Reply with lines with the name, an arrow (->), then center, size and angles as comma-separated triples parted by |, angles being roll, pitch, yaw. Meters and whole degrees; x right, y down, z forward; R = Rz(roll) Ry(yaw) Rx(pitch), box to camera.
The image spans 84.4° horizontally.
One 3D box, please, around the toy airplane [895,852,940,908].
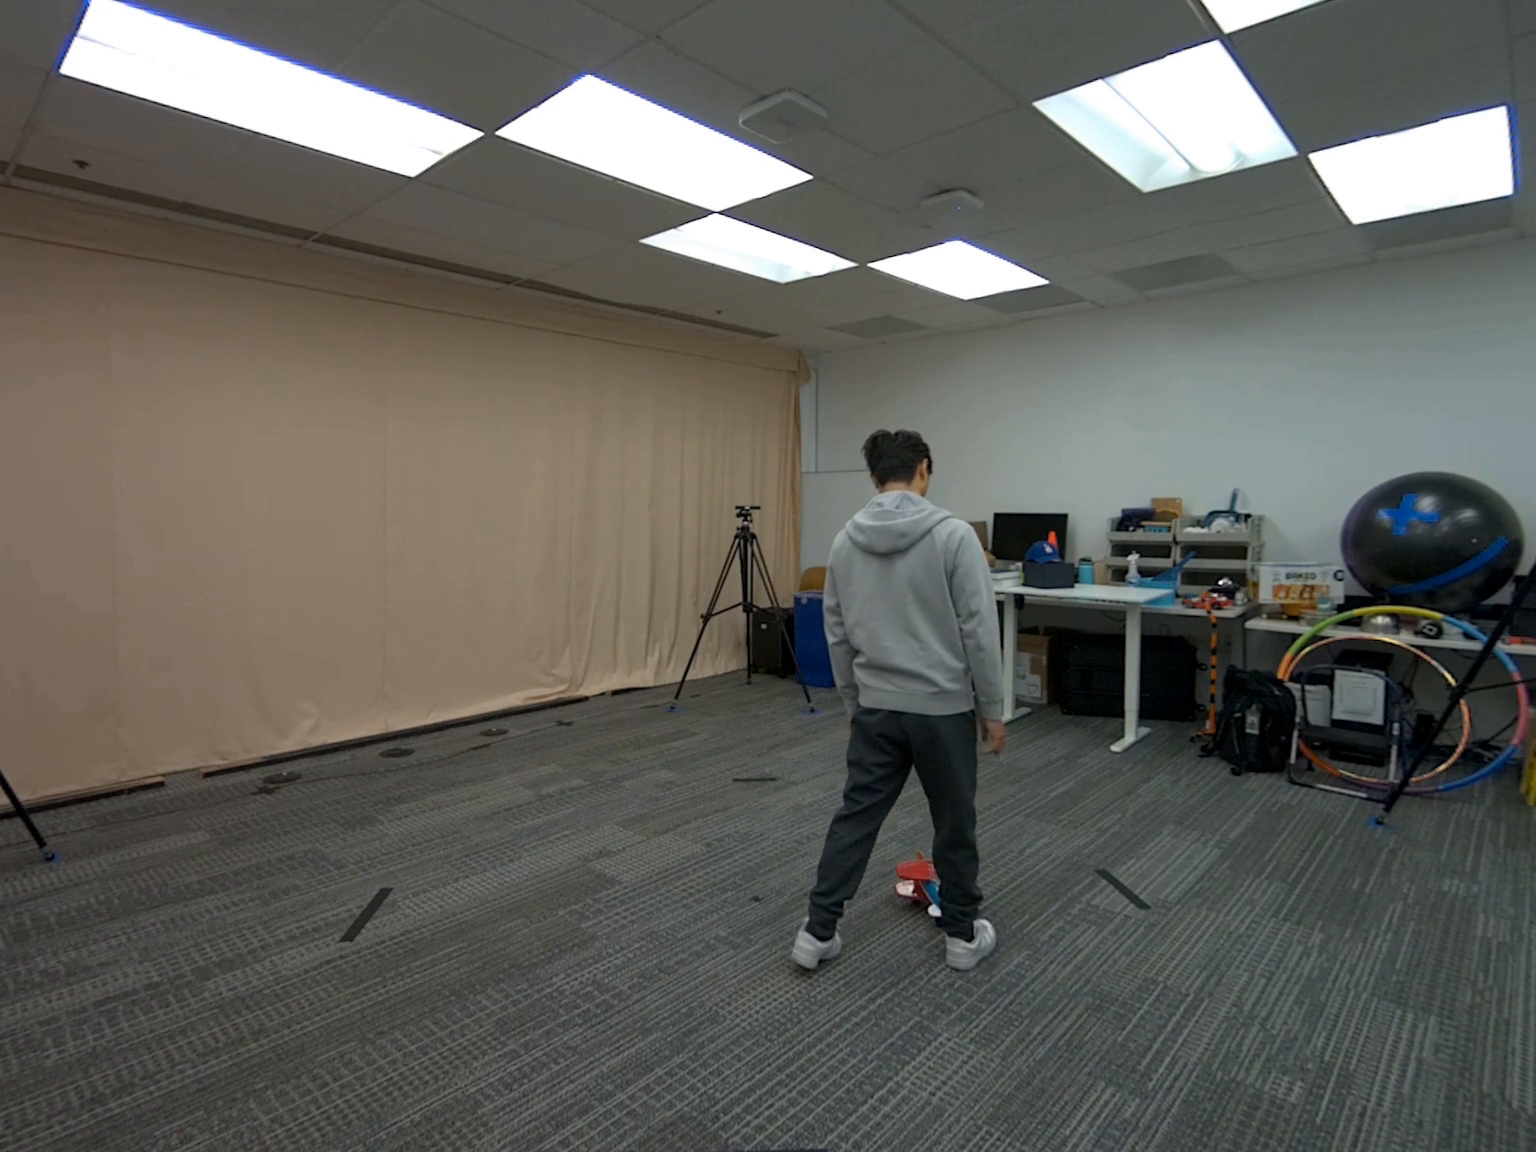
toy airplane -> 0.596, 1.080, 2.875 | 0.244, 0.156, 0.267 | -2, 4, -33
